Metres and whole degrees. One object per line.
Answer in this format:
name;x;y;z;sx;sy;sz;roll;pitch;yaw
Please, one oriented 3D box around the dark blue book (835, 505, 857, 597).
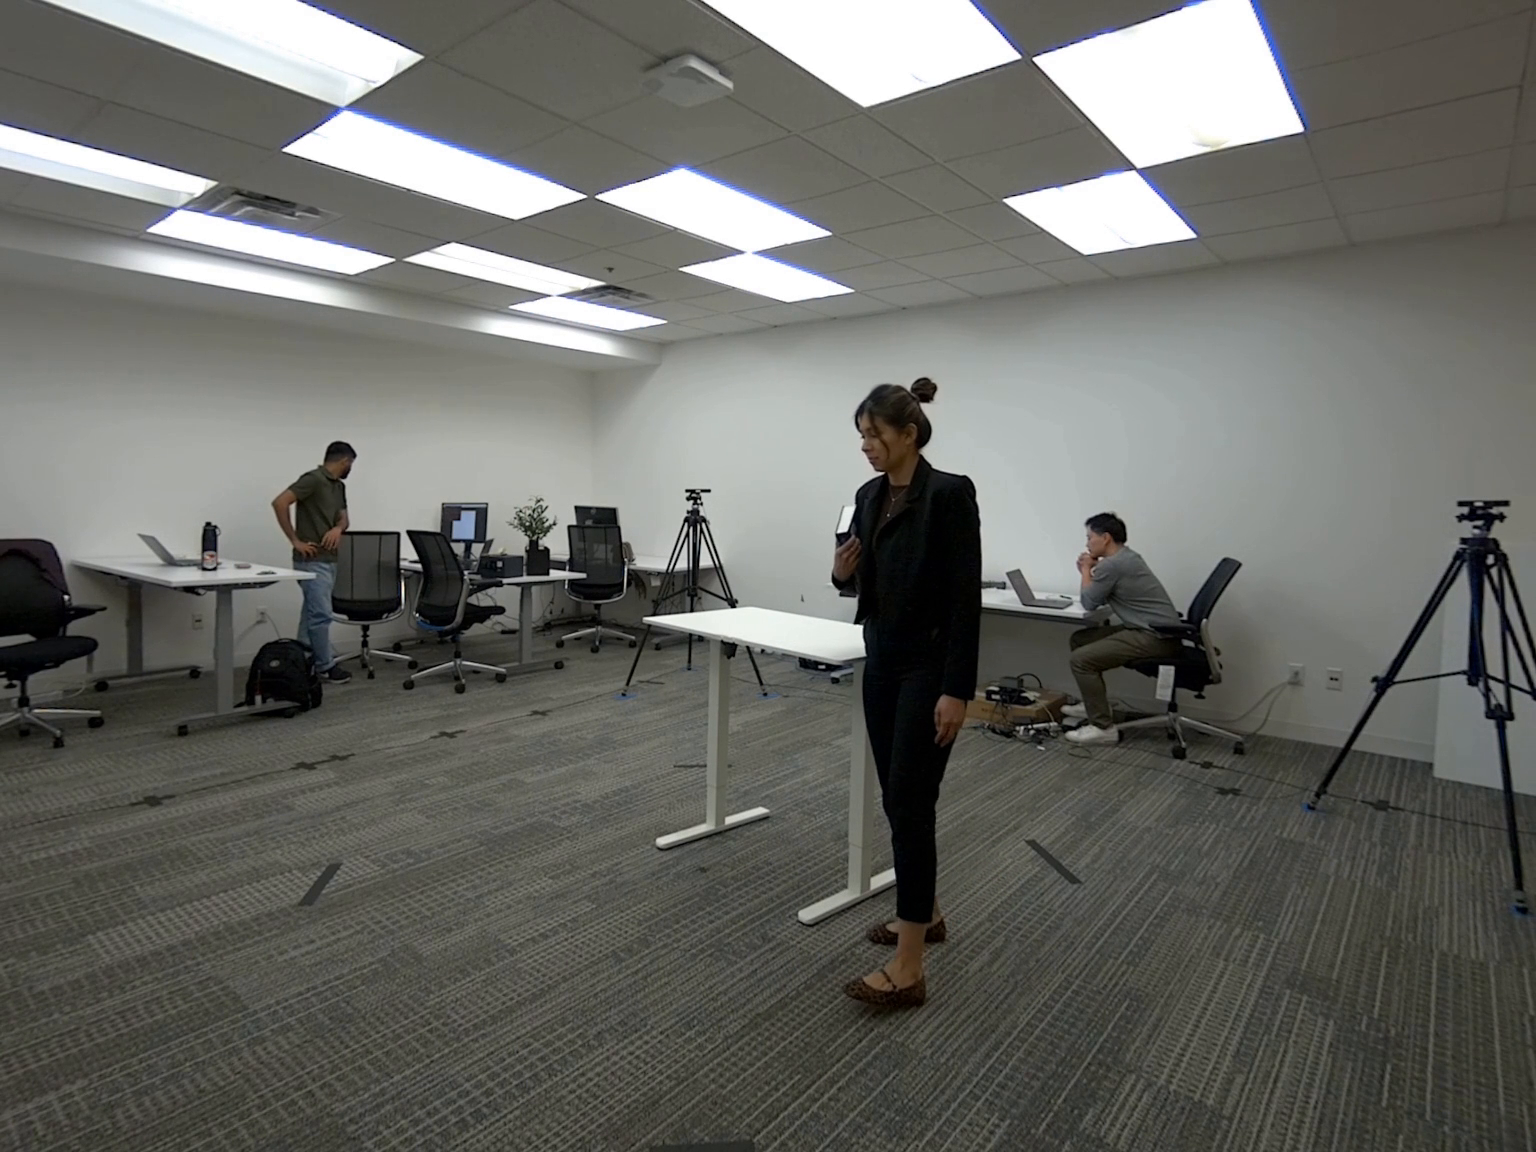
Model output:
dark blue book;0.261;-0.076;2.617;0.046;0.237;0.165;-9;30;22
